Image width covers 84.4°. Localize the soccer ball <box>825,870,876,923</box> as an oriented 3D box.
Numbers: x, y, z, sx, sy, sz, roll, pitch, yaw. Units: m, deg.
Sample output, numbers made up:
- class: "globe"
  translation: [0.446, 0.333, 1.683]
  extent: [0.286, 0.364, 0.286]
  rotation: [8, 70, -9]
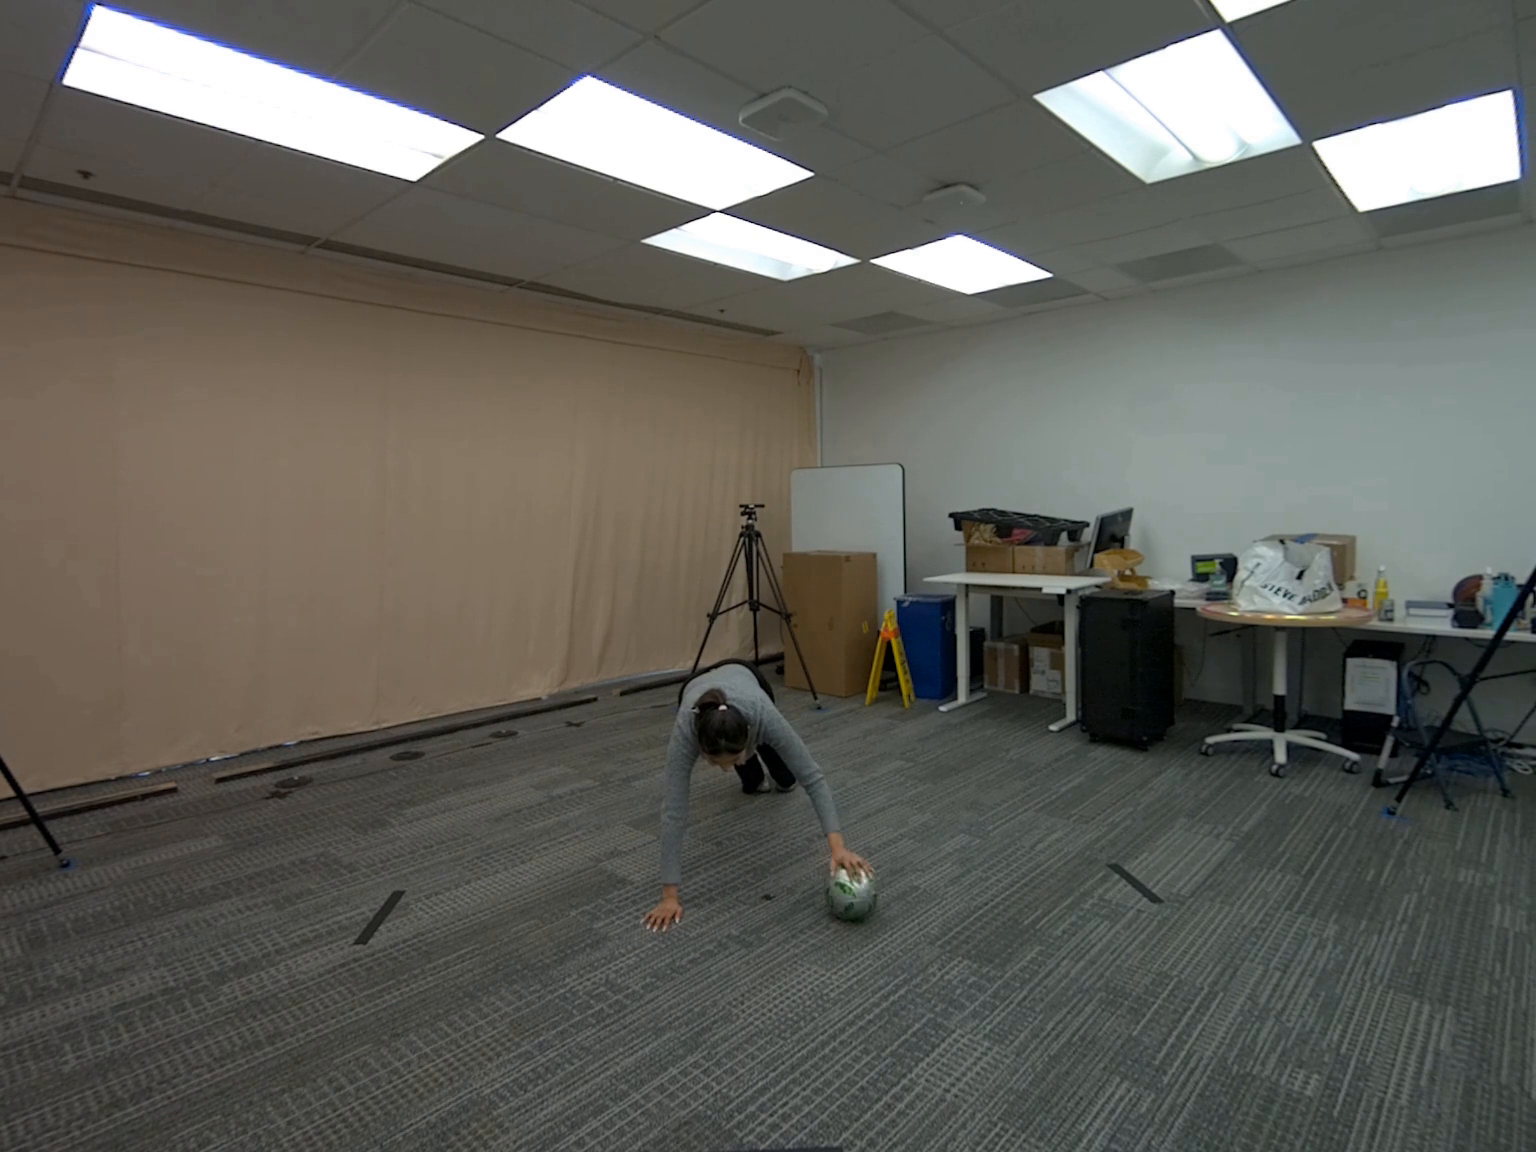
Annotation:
- class: "soccer ball"
  translation: [0.271, 1.053, 2.831]
  extent: [0.187, 0.187, 0.188]
  rotation: [-1, 4, -2]
